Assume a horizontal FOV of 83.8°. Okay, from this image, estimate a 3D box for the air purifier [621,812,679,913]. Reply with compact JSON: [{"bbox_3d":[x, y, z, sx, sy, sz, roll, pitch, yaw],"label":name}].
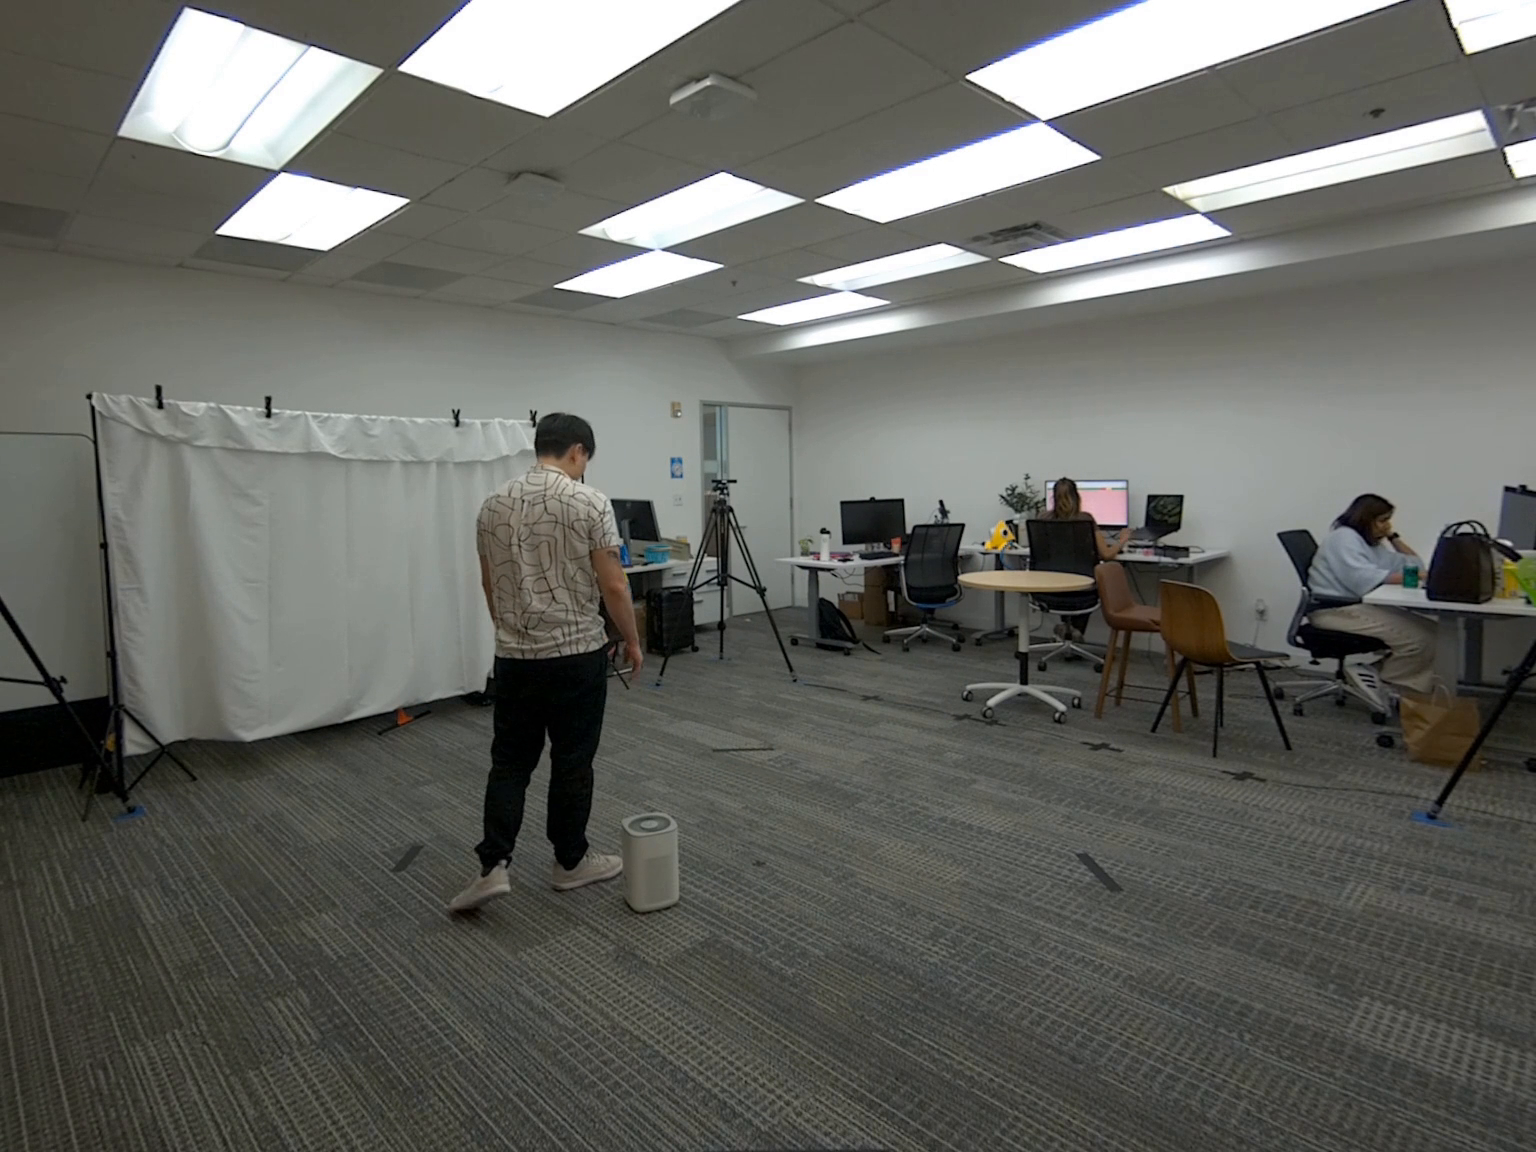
[{"bbox_3d":[-0.398,0.946,2.833,0.167,0.264,0.176,-3,6,-26],"label":"air purifier"}]
